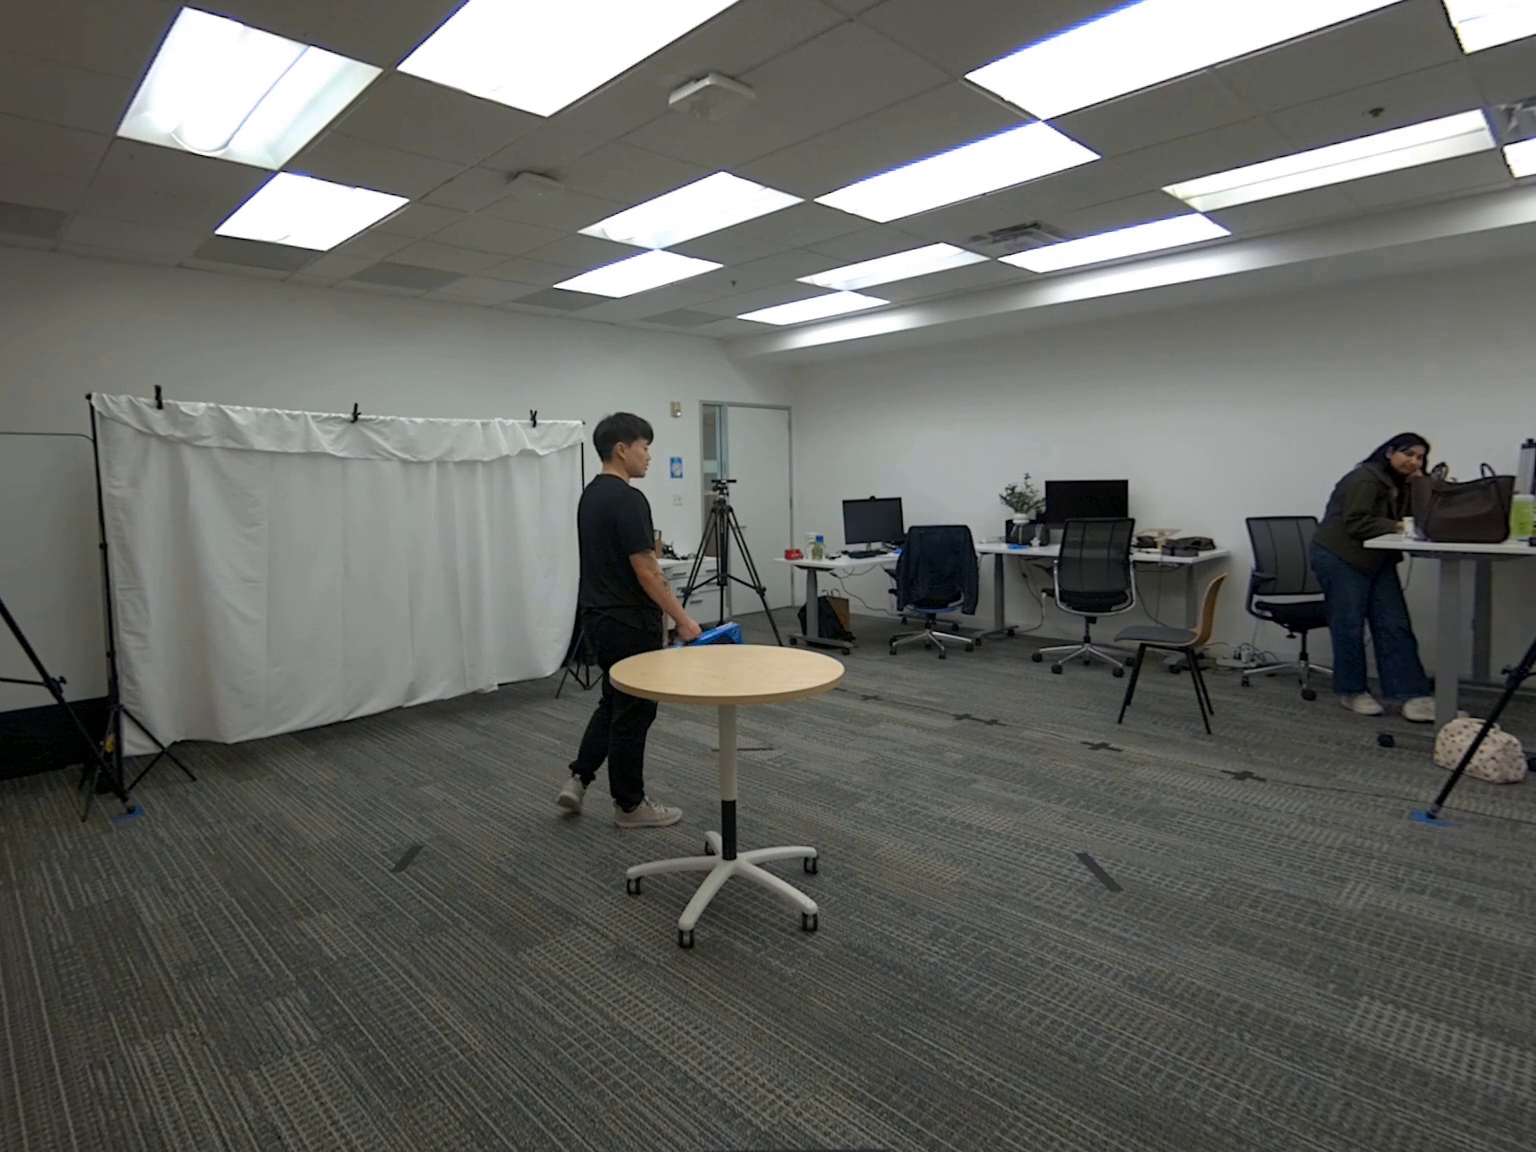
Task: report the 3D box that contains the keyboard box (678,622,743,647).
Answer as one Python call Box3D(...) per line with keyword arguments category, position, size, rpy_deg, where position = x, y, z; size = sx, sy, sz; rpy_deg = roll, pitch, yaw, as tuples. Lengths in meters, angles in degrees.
Box3D(category="keyboard box", position=(-0.291, 0.338, 3.348), size=(0.430, 0.173, 0.061), rpy_deg=(-20, 16, -31))
